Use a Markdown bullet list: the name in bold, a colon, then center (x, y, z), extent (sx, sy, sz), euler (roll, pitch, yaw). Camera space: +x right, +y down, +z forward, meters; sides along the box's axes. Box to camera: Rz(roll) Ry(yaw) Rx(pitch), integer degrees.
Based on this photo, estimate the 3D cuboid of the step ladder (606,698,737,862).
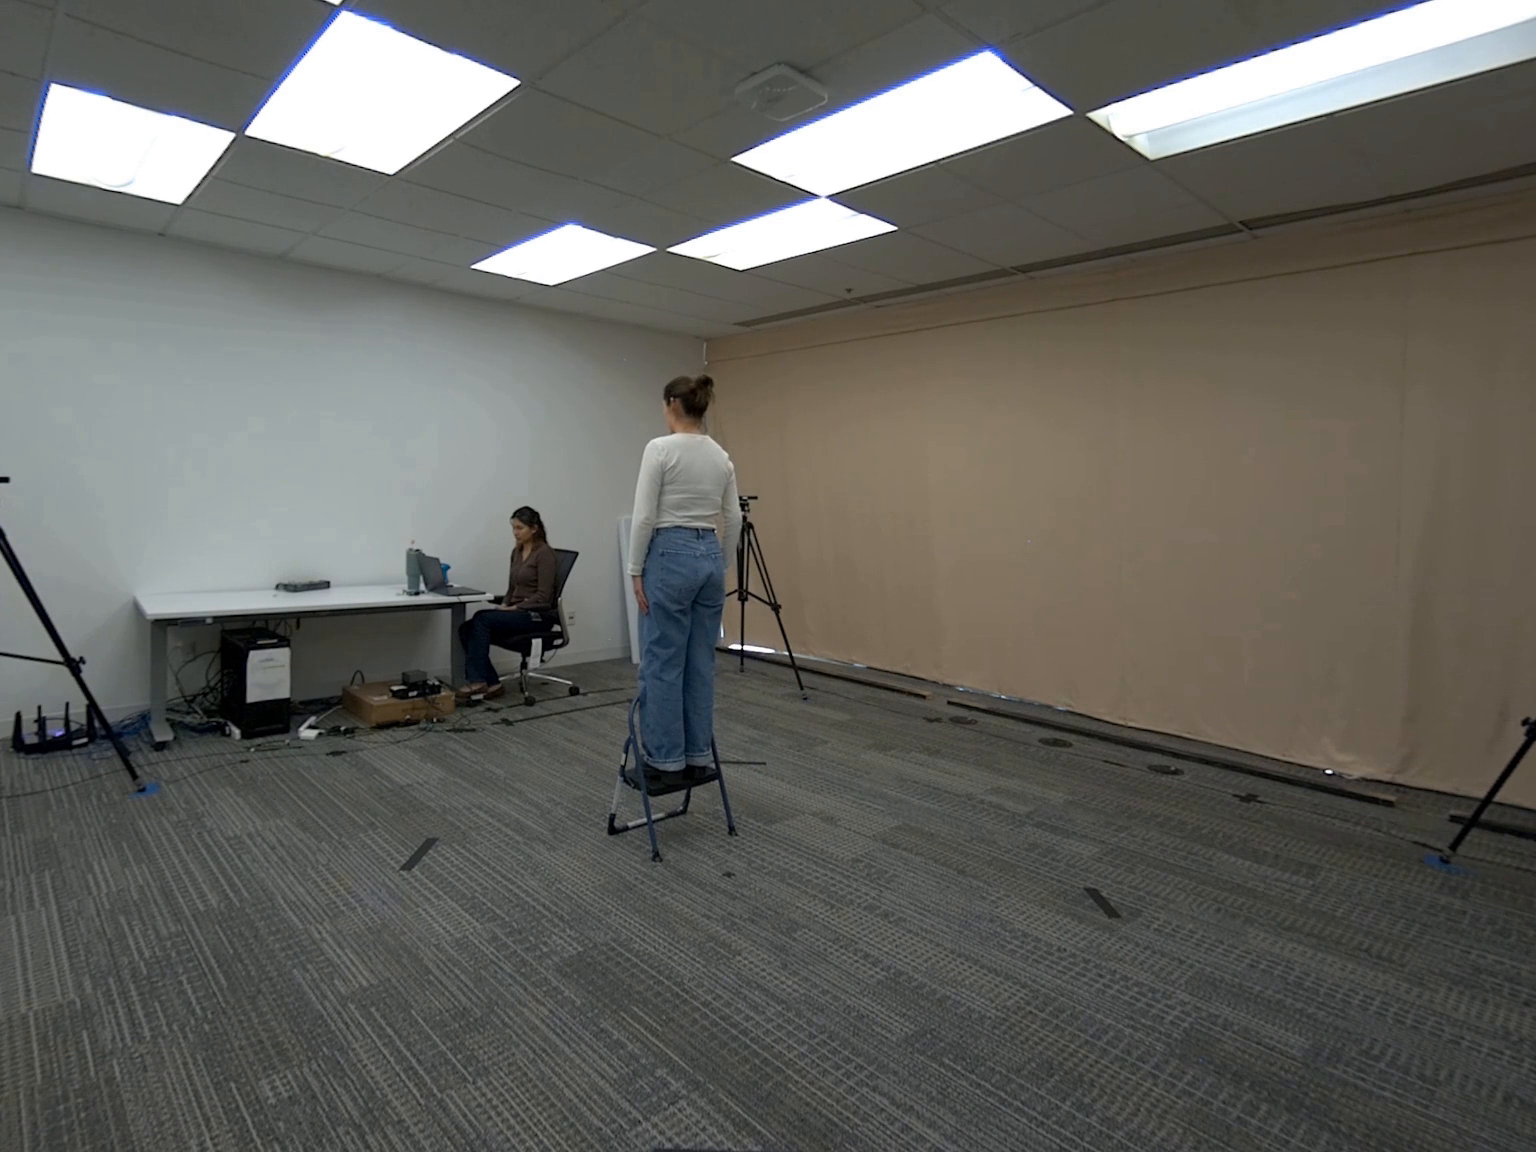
- **step ladder**: center (-0.393, 0.764, 3.449), extent (0.420, 0.605, 0.358), euler (-2, 4, -45)
